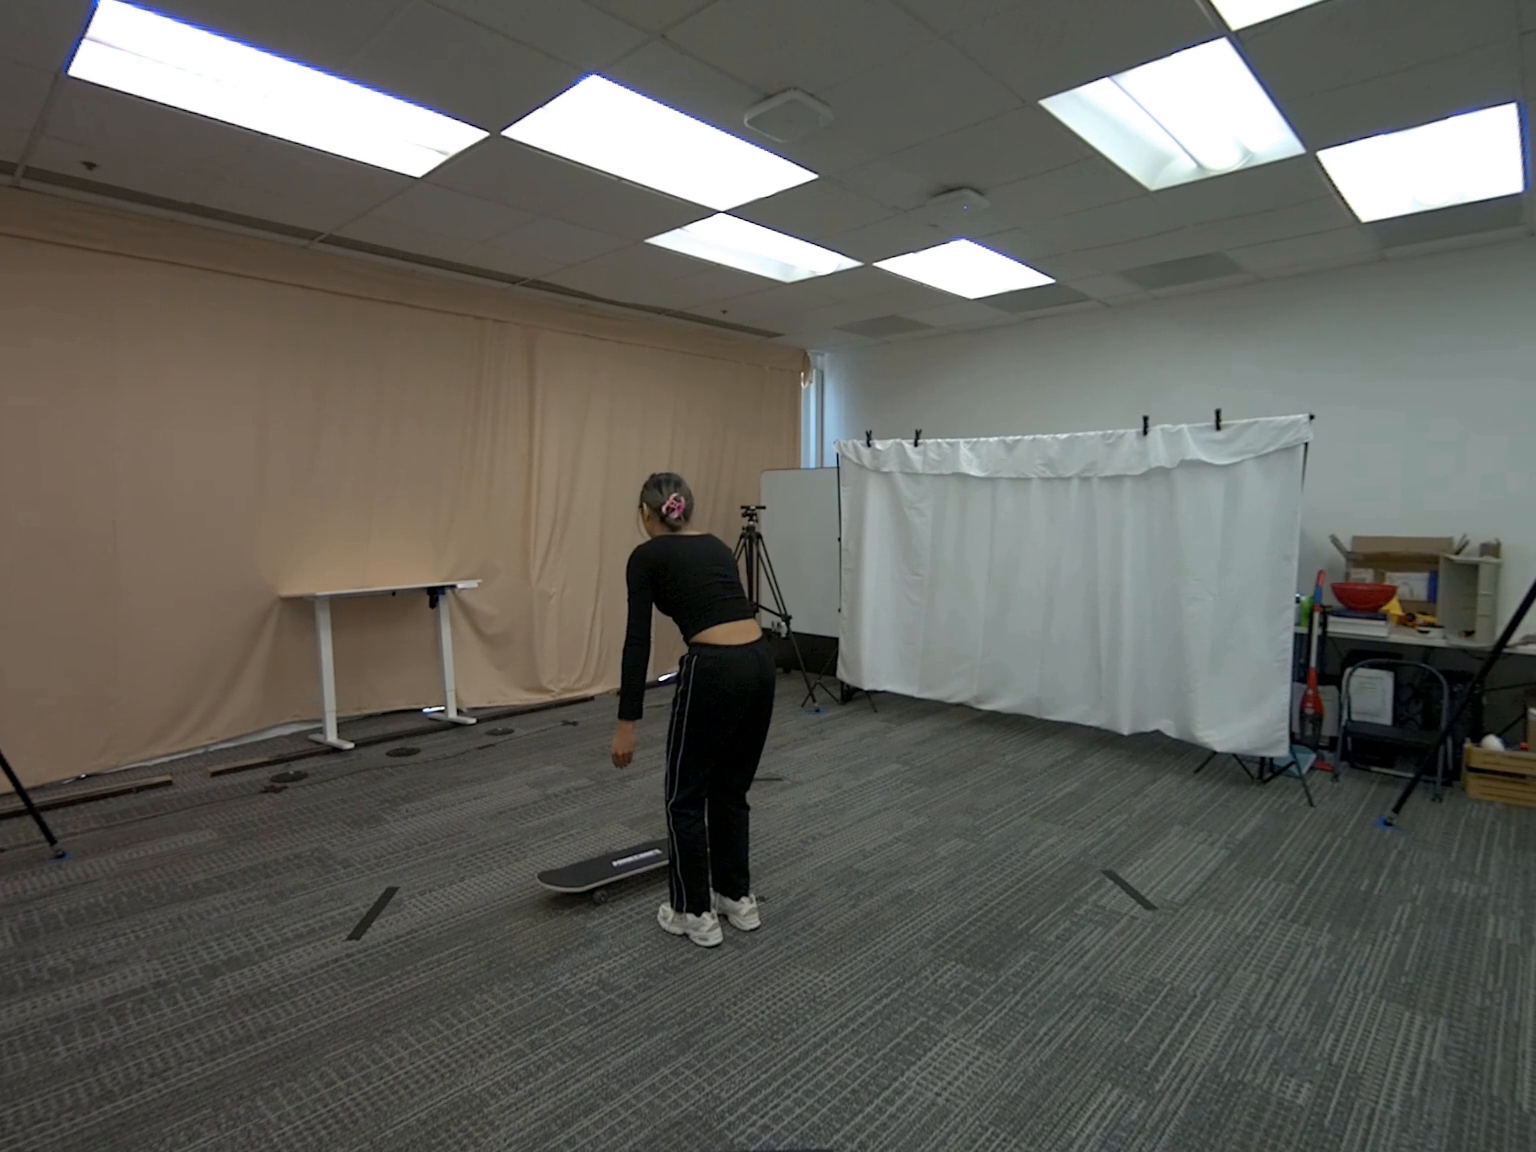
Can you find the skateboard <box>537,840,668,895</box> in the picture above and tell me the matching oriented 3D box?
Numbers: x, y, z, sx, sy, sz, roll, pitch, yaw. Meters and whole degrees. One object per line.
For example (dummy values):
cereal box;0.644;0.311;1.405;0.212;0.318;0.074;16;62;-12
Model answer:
skateboard;-0.494;1.080;3.130;0.762;0.110;0.199;-4;5;-37
